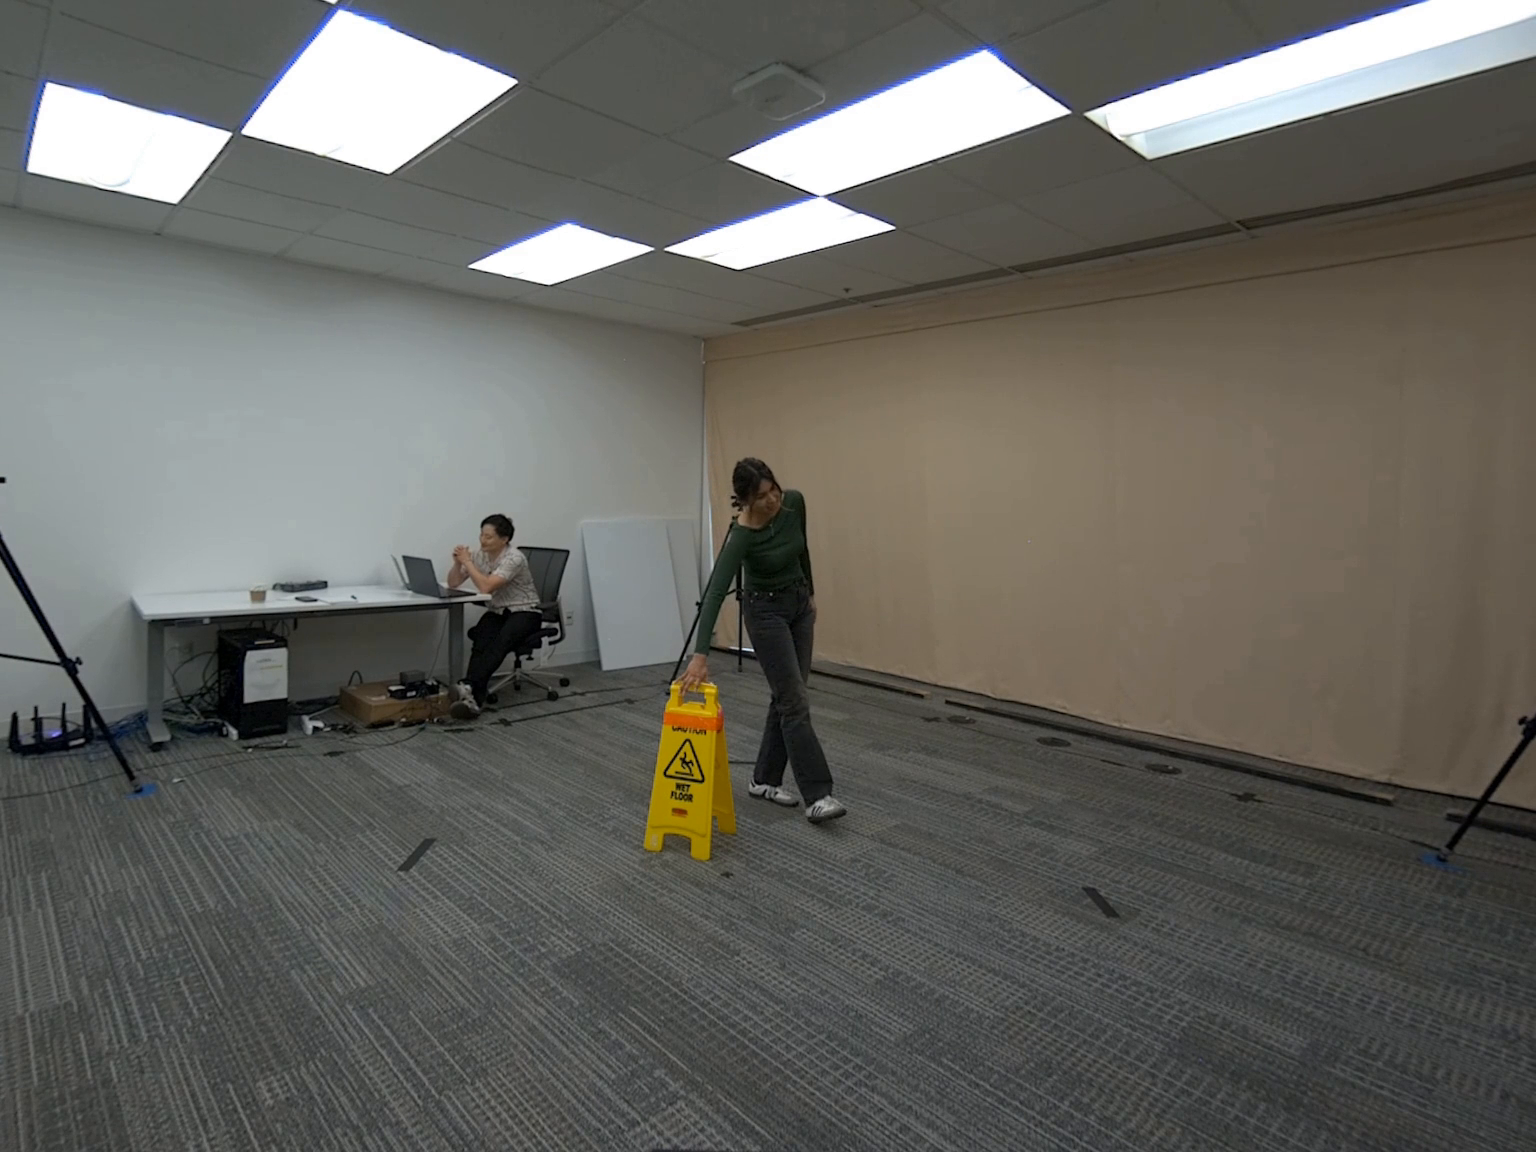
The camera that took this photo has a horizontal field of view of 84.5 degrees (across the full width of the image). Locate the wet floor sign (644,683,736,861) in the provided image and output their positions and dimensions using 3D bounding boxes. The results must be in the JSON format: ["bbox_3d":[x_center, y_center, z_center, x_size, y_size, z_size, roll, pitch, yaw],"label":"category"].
[{"bbox_3d":[-0.312,0.752,3.385,0.287,0.644,0.286,1,4,21],"label":"wet floor sign"}]
